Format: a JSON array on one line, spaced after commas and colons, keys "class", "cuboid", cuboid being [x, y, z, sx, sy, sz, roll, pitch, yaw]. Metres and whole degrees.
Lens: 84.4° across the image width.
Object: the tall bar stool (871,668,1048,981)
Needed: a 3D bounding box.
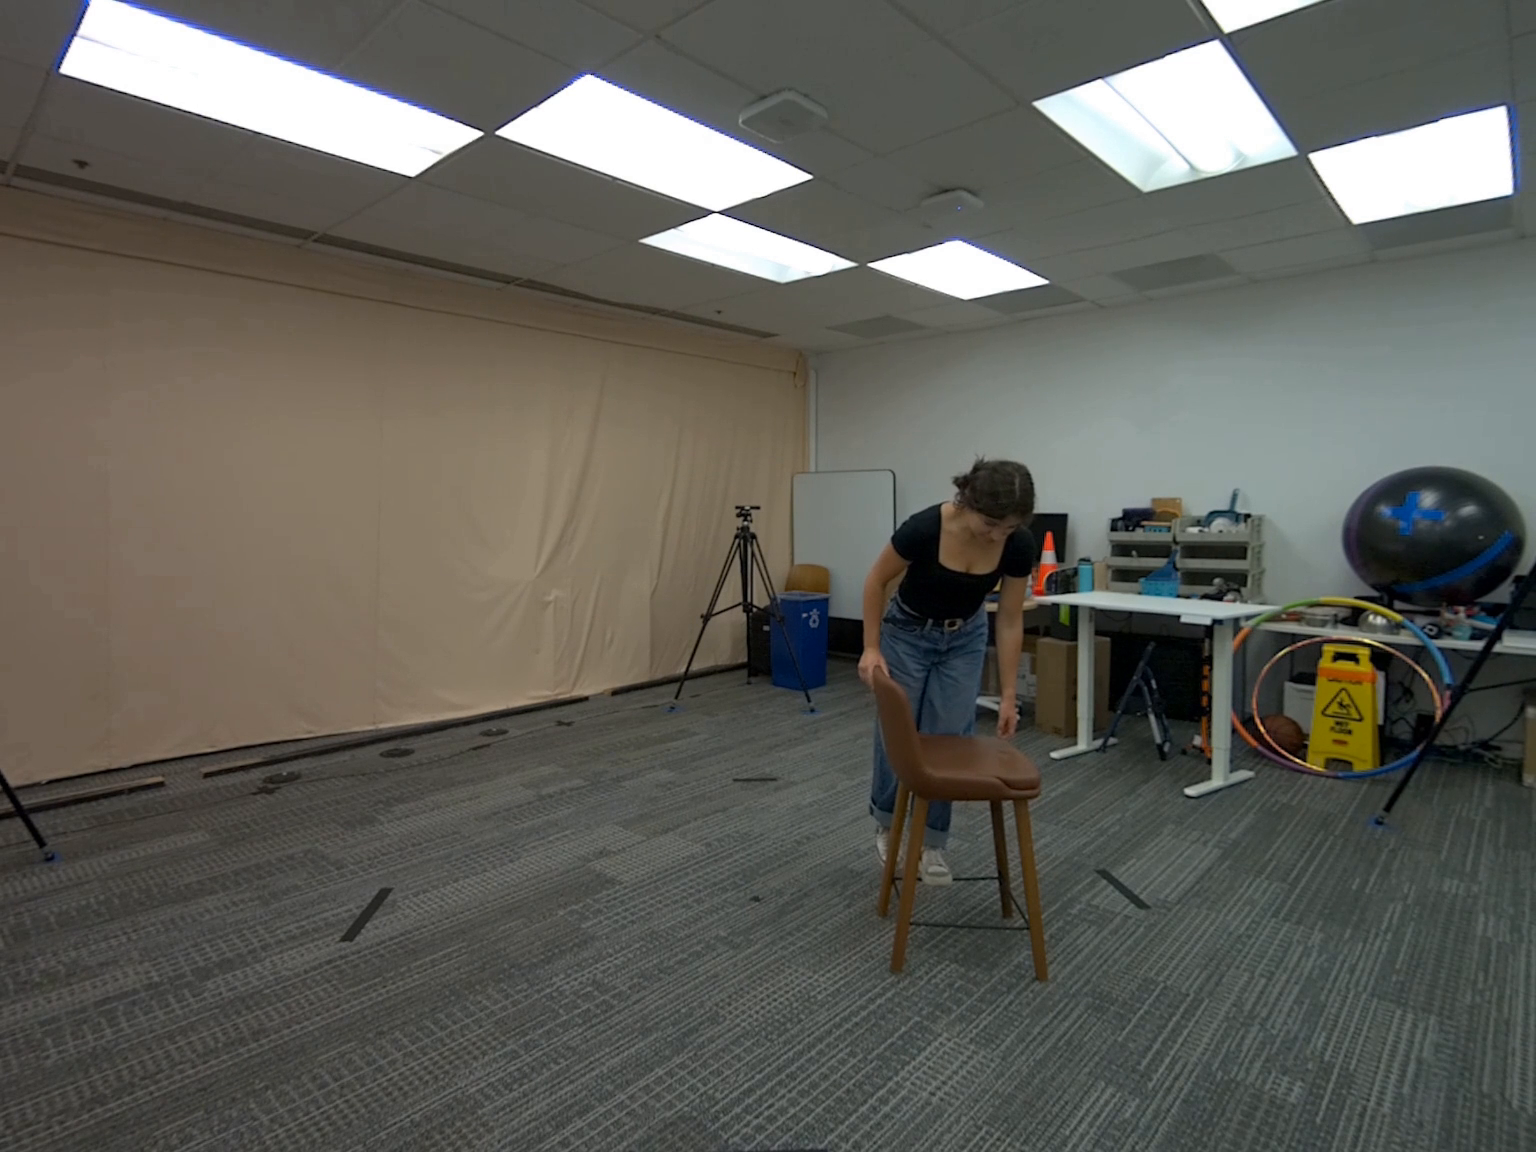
[{"class": "tall bar stool", "cuboid": [0.596, 0.735, 2.651, 0.470, 0.888, 0.455, -2, 4, 4]}]
